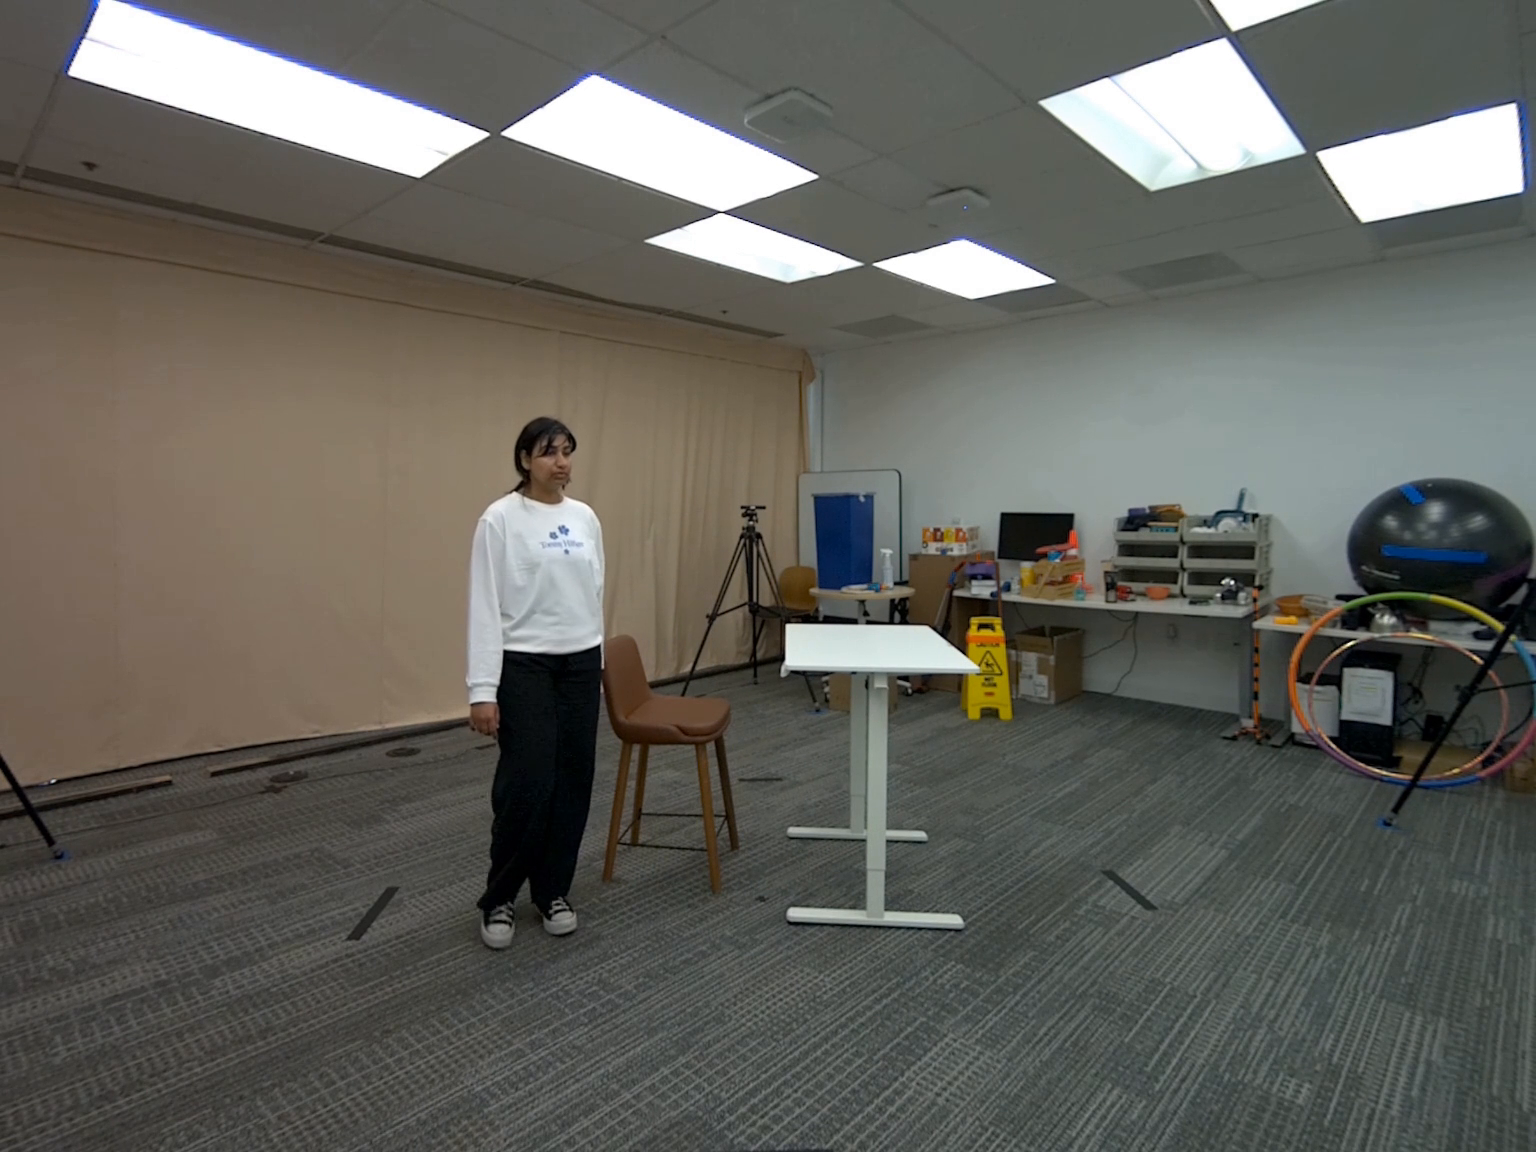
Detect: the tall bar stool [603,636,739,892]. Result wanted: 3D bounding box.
[{"bbox_3d":[-0.376,0.689,3.246,0.474,0.888,0.451,-2,3,11],"label":"tall bar stool"}]
